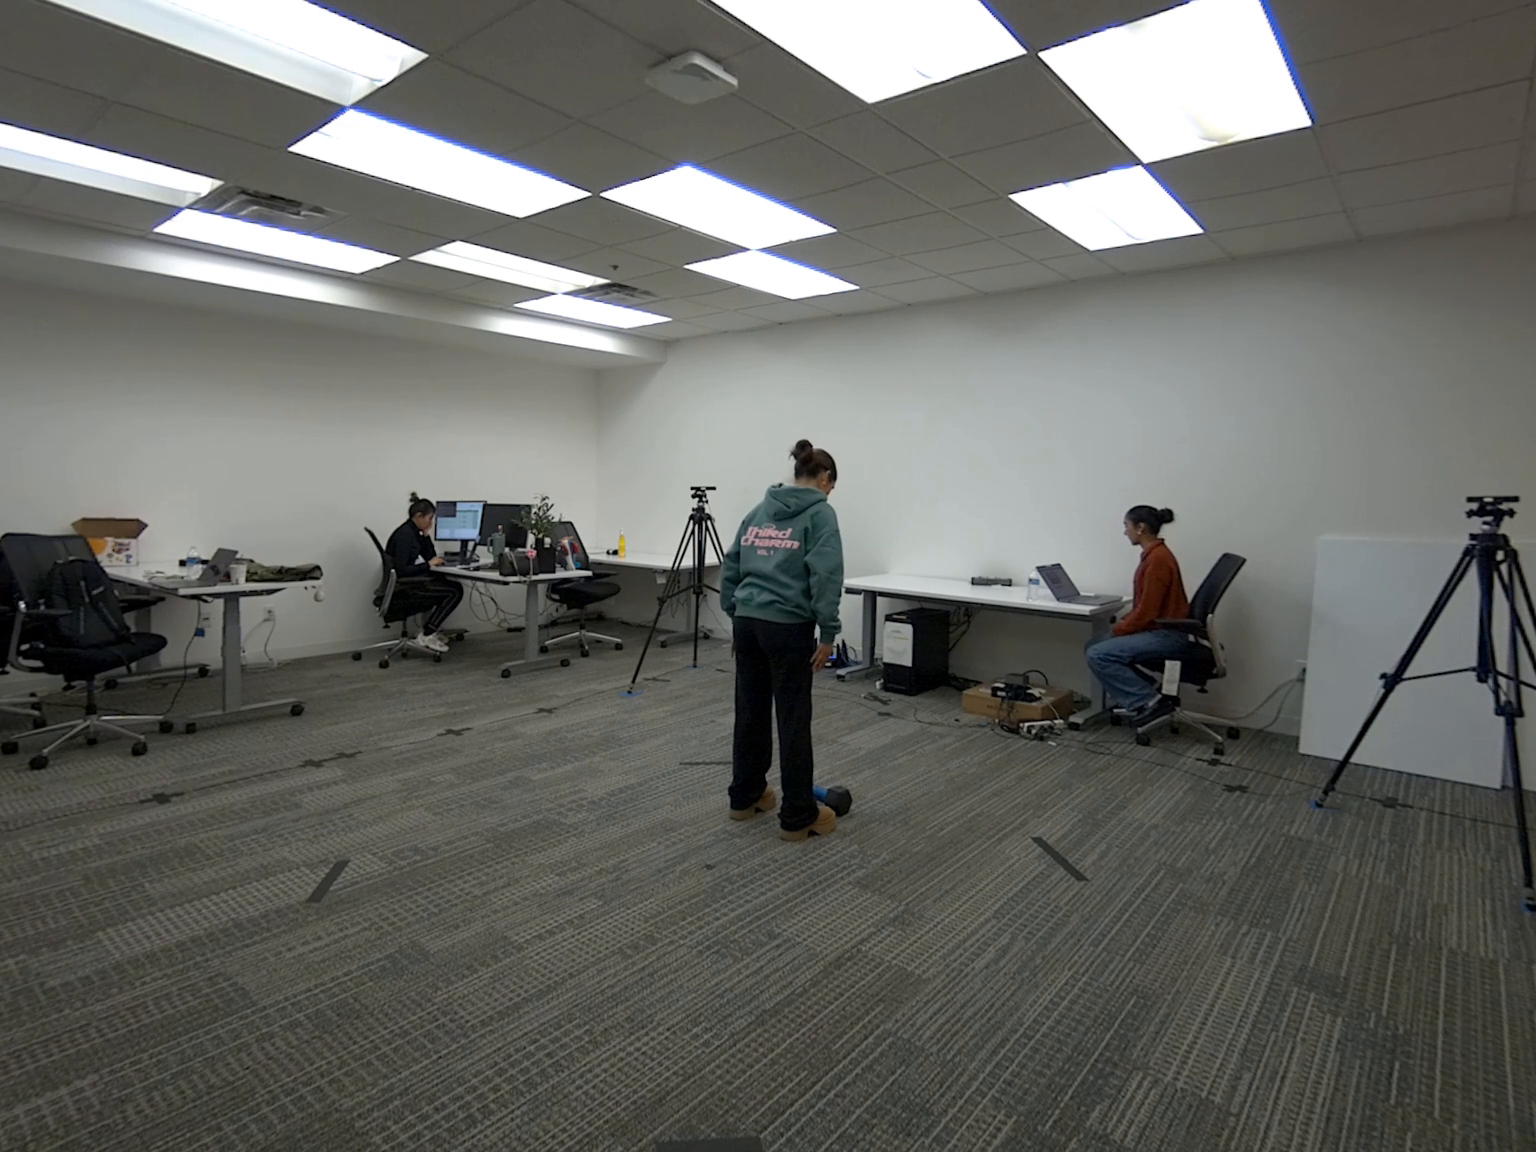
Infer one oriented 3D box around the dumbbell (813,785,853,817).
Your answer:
[{"bbox_3d":[0.216,0.958,3.742,0.303,0.124,0.104,5,-26,43],"label":"dumbbell"}]
